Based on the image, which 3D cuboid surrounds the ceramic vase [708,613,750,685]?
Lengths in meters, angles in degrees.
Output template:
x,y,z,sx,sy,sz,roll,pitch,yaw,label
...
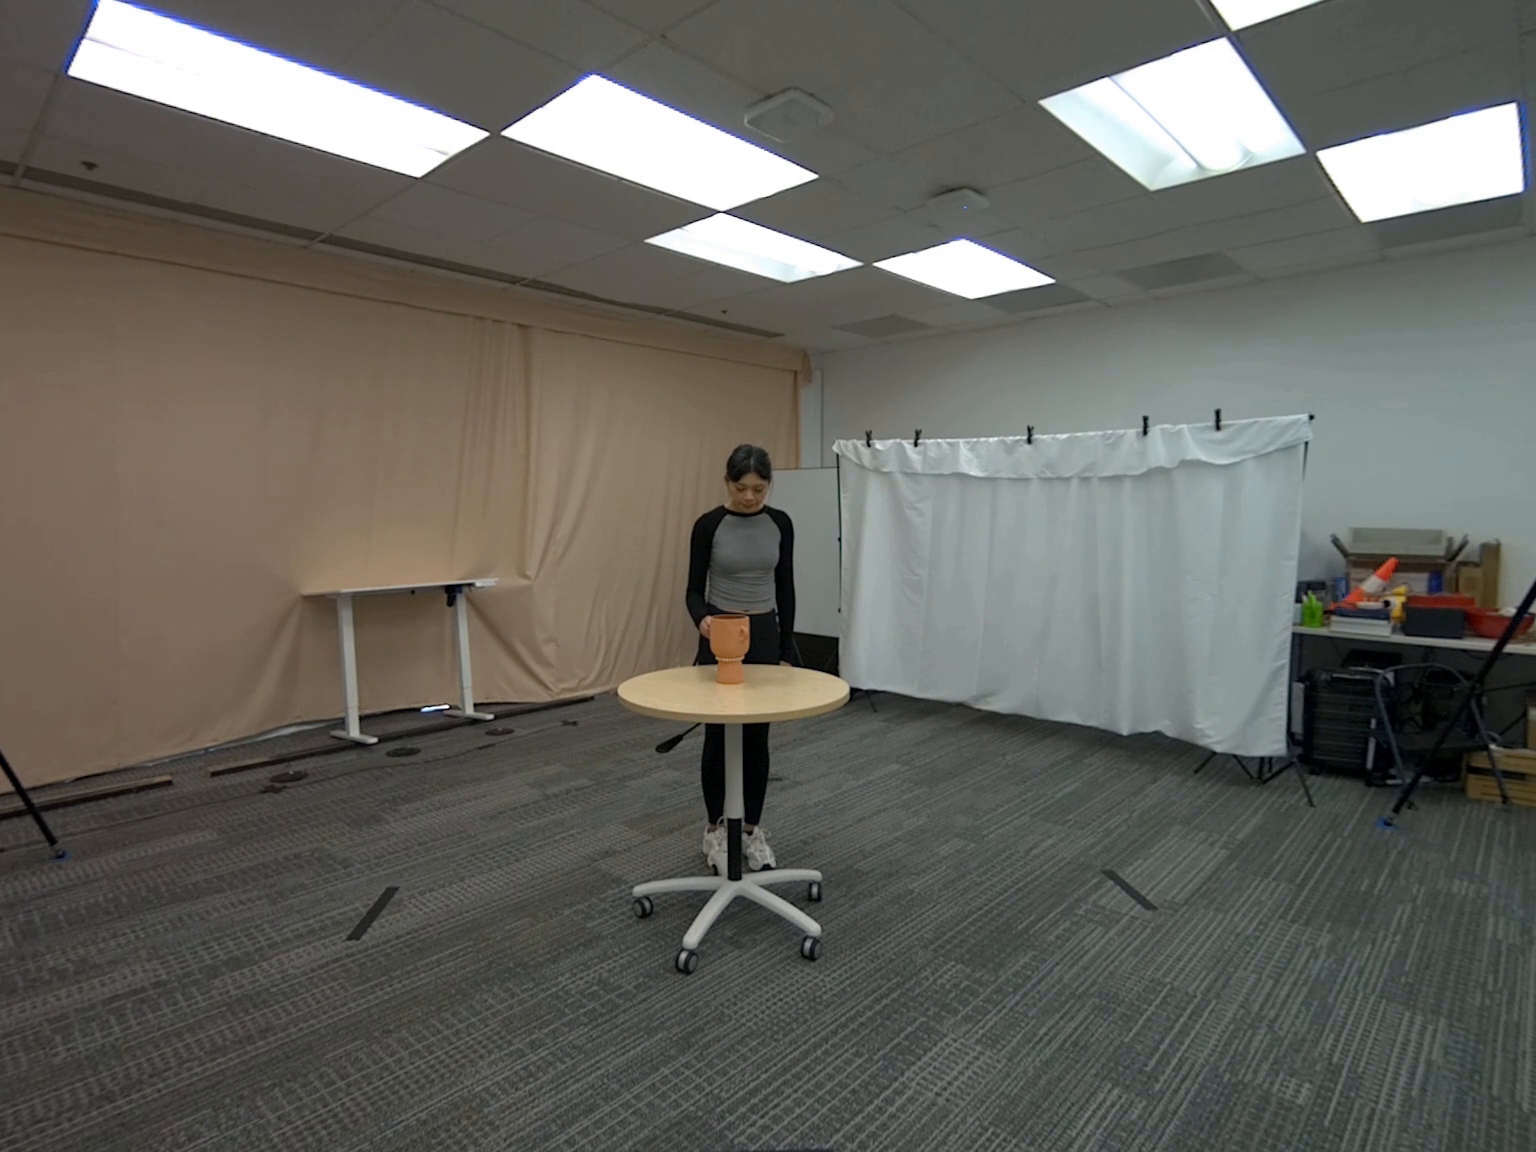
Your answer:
x,y,z,sx,sy,sz,roll,pitch,yaw,label
-0.127,0.248,2.872,0.135,0.219,0.159,0,5,1,ceramic vase
